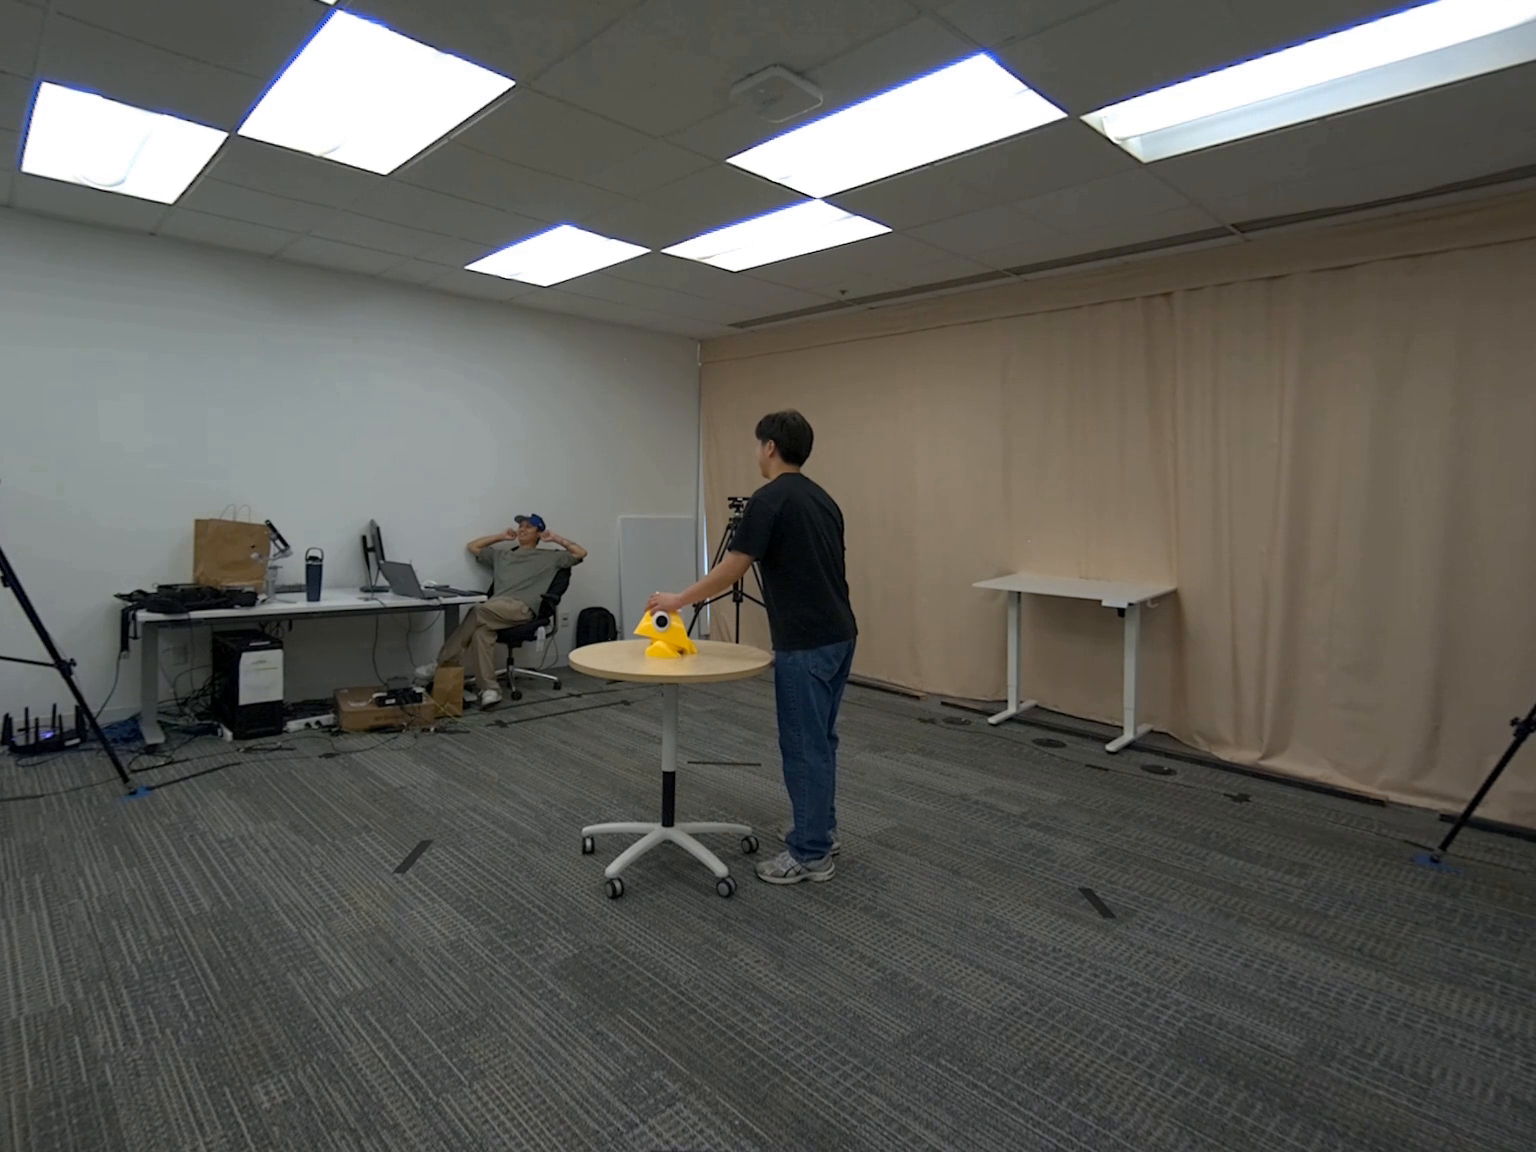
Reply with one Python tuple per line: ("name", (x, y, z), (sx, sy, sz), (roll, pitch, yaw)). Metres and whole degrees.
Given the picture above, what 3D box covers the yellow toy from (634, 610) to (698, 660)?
("yellow toy", (-0.381, 0.181, 3.226), (0.197, 0.230, 0.201), (4, 5, 31))
